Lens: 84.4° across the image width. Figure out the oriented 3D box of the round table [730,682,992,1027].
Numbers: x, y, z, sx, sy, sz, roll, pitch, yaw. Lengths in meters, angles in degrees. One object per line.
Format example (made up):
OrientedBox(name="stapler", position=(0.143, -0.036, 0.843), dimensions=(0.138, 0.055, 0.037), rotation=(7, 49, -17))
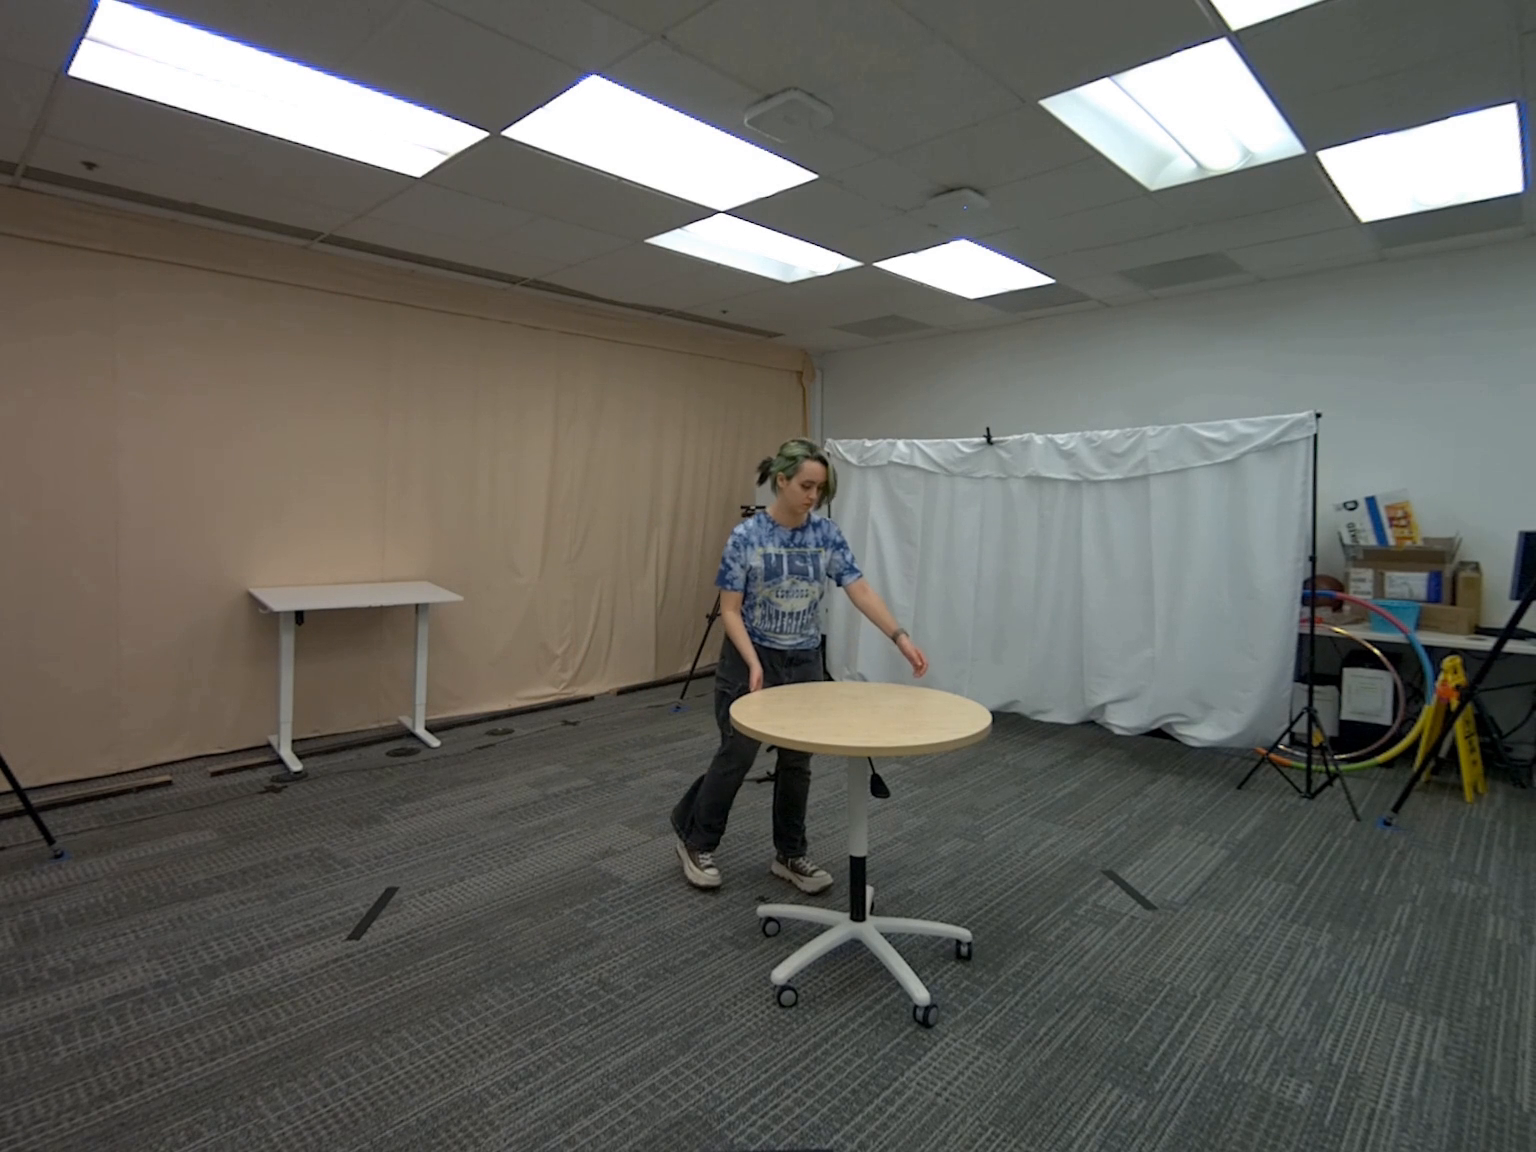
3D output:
OrientedBox(name="round table", position=(0.282, 0.792, 2.535), dimensions=(0.763, 0.792, 0.767), rotation=(0, 4, -2))
